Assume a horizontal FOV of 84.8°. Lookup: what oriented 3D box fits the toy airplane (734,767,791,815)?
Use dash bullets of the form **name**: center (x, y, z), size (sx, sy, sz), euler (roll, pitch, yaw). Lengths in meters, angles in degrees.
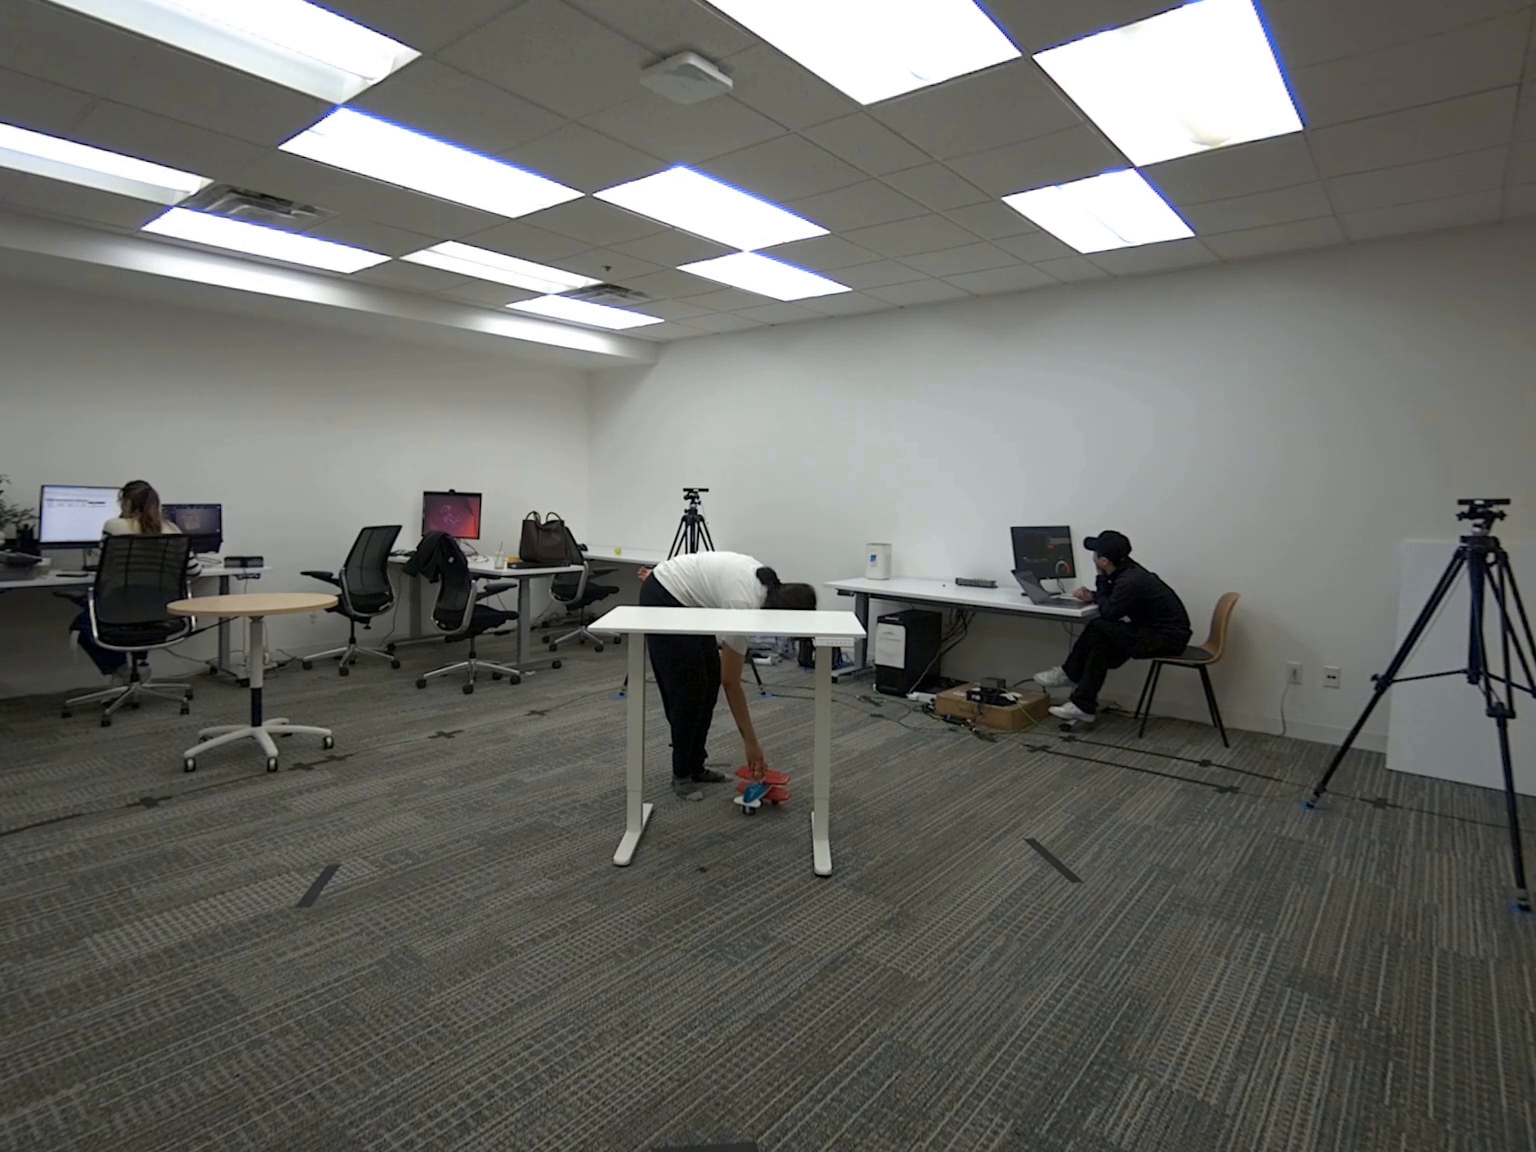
- **toy airplane**: center (-0.028, 0.941, 3.725), size (0.252, 0.156, 0.259), euler (2, 3, 1)
